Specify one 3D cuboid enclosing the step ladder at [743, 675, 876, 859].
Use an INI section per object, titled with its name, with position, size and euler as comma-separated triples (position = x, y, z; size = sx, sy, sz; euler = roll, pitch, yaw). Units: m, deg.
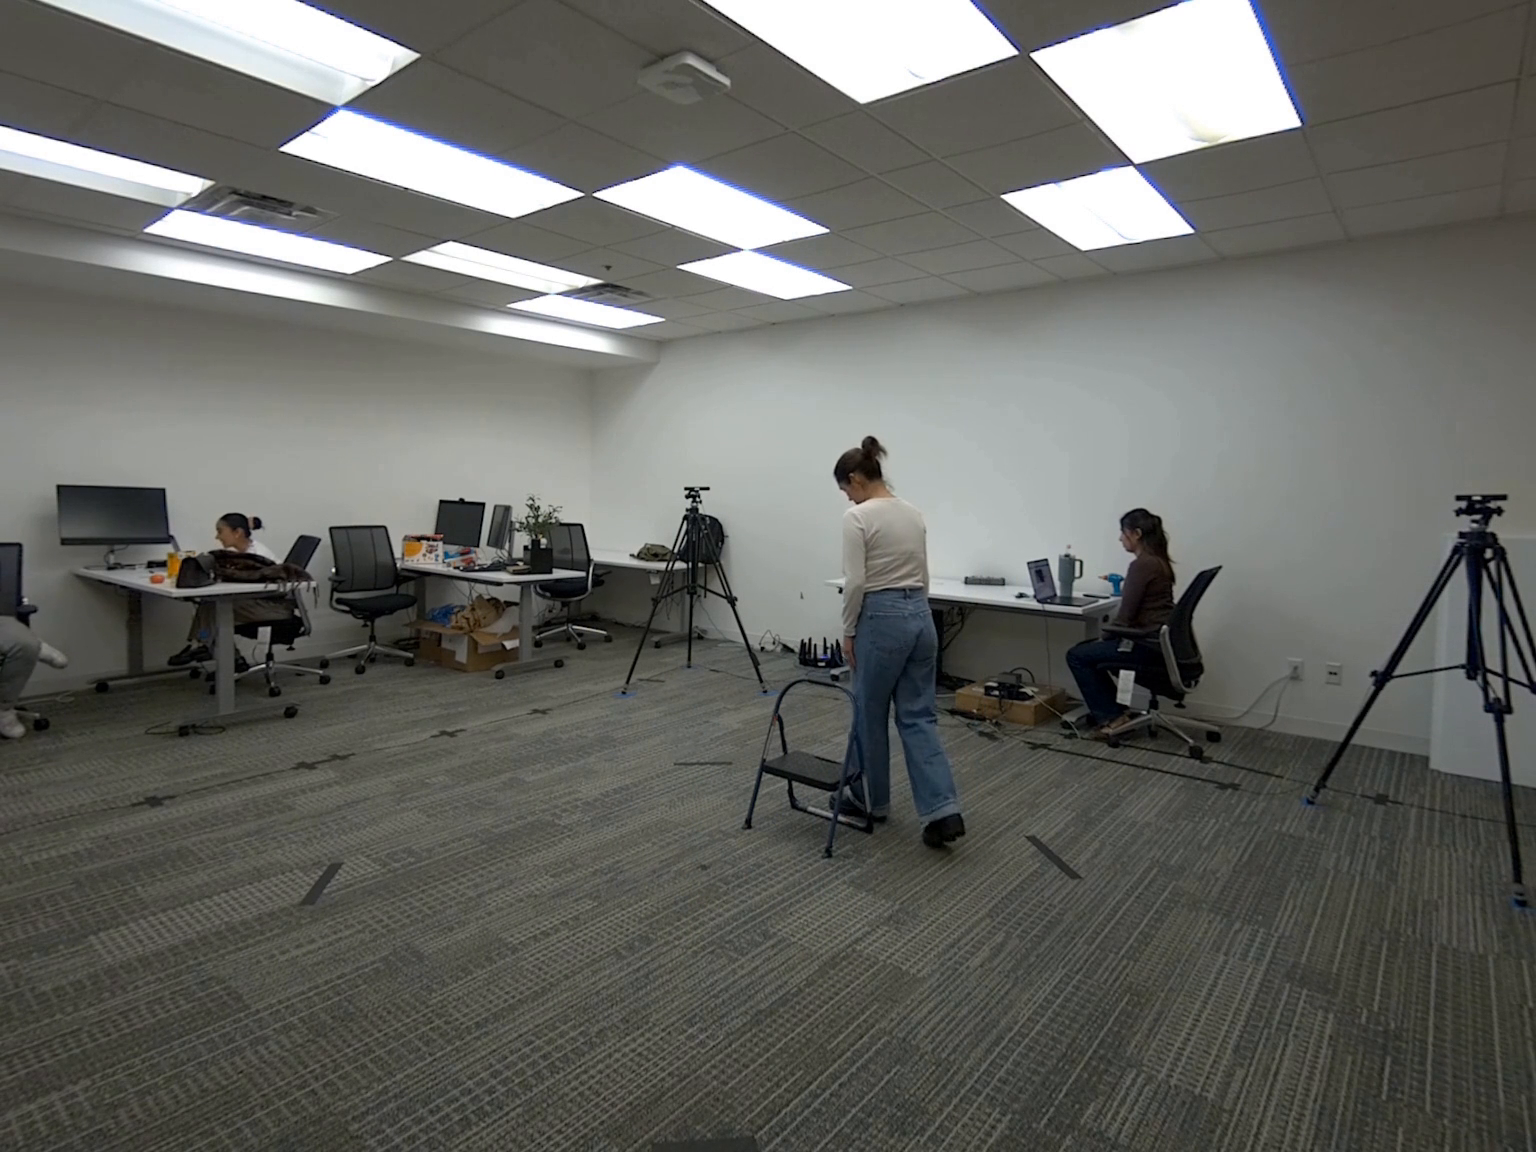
[step ladder]
position = 0.164, 0.737, 3.463
size = 0.445, 0.604, 0.339
euler = 4, 5, 39
